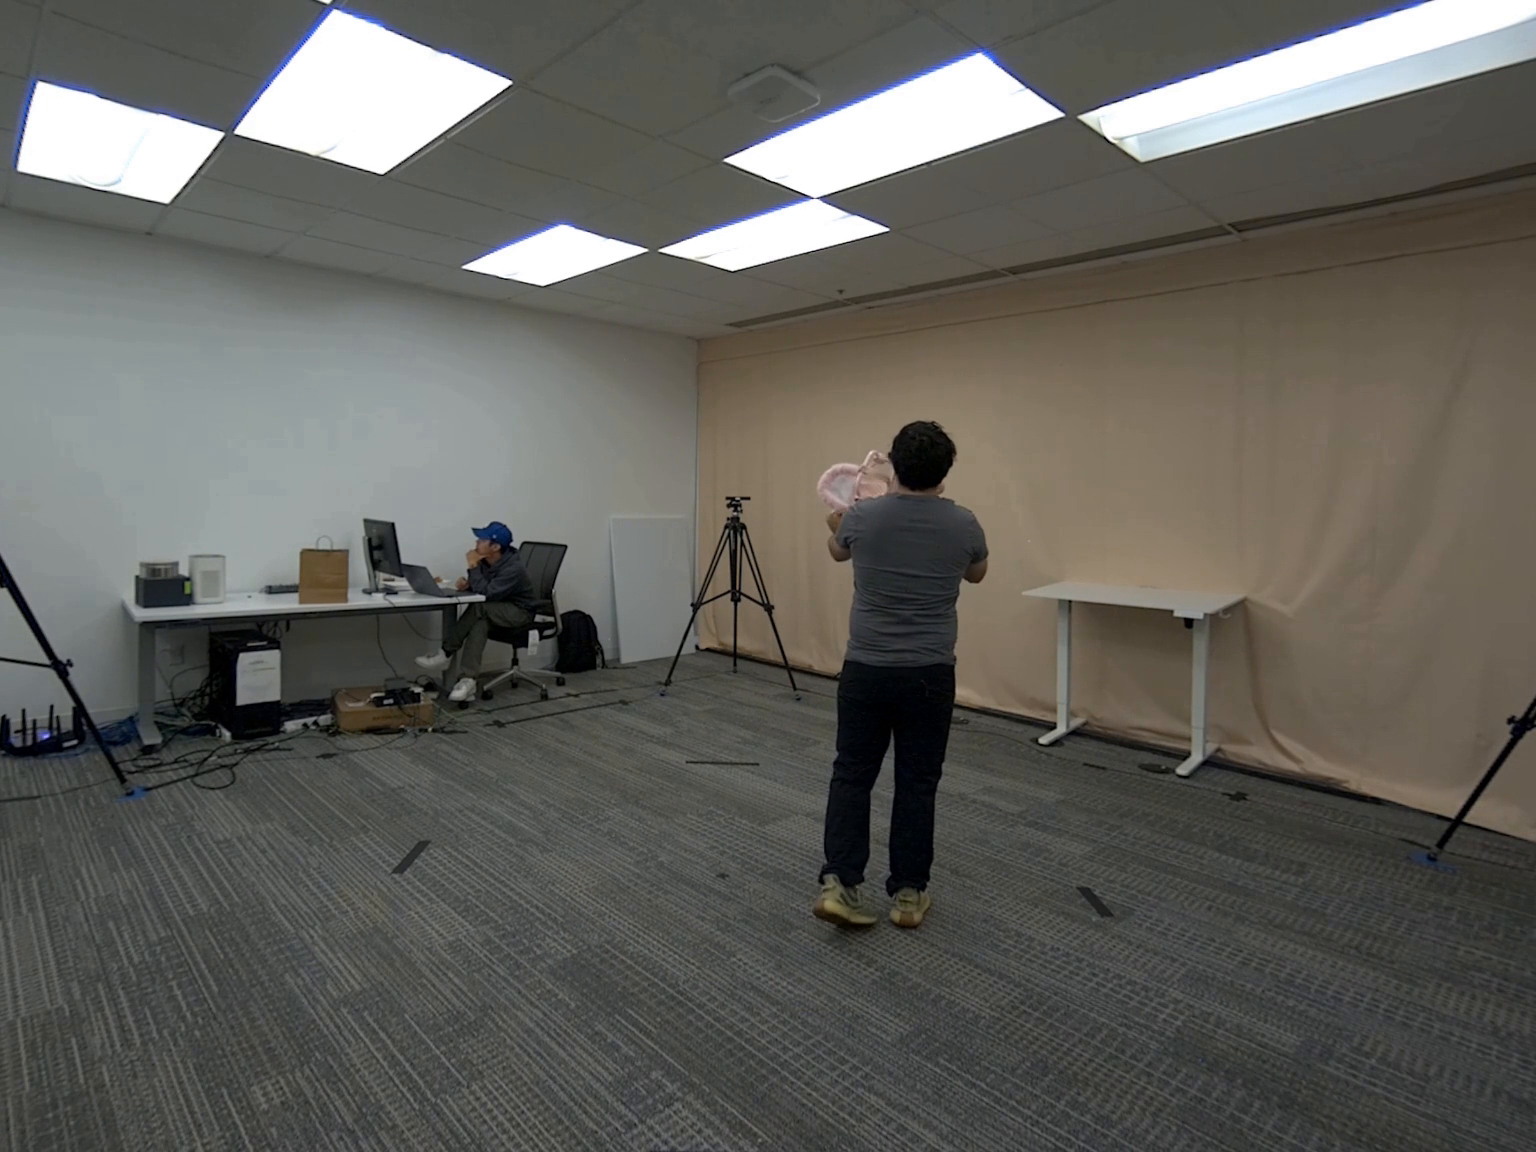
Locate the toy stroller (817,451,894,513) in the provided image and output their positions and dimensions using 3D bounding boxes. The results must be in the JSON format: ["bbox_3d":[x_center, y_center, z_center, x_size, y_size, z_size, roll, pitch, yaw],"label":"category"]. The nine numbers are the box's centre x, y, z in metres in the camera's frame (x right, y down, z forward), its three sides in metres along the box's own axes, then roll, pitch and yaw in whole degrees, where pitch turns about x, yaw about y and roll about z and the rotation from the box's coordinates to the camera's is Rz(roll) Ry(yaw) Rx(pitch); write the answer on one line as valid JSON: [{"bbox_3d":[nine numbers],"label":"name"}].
[{"bbox_3d":[0.401,-0.320,3.220,0.549,0.283,0.330,11,-21,38],"label":"toy stroller"}]
